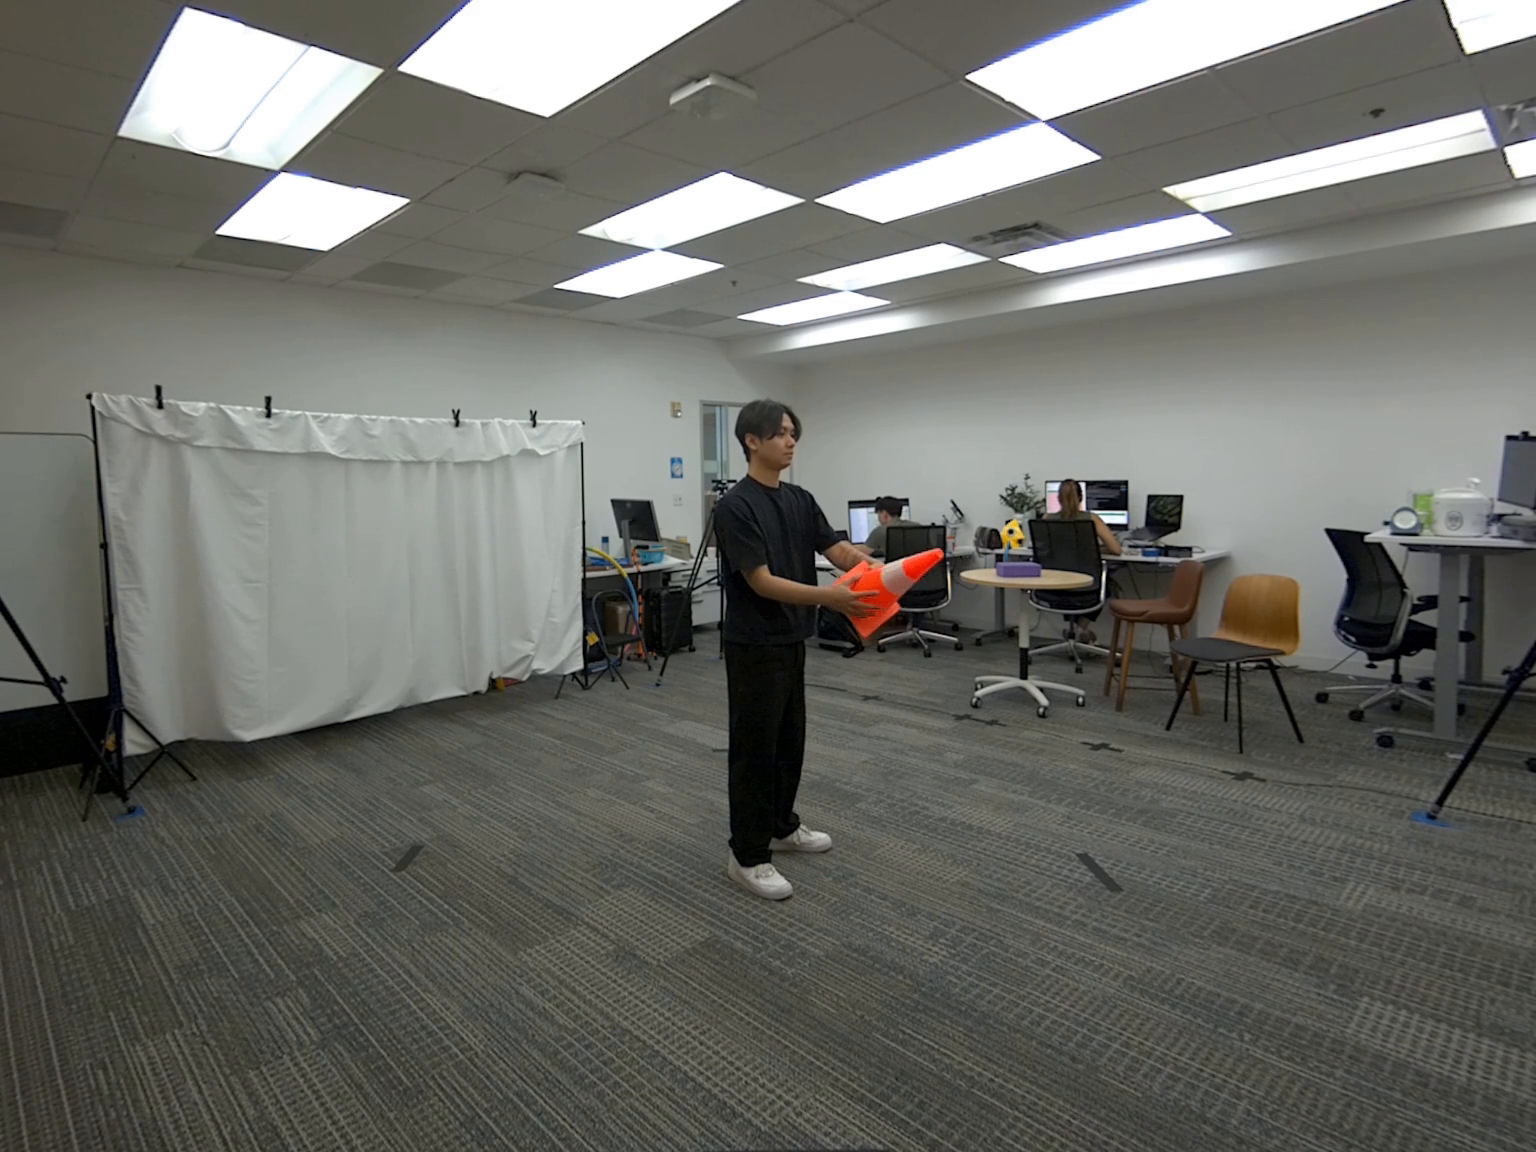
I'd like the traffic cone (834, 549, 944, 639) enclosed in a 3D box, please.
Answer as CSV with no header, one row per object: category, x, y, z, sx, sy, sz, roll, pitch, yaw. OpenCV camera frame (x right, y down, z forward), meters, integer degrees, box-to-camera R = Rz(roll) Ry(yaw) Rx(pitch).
traffic cone,0.406,0.003,2.617,0.201,0.206,0.385,-31,-4,-36
